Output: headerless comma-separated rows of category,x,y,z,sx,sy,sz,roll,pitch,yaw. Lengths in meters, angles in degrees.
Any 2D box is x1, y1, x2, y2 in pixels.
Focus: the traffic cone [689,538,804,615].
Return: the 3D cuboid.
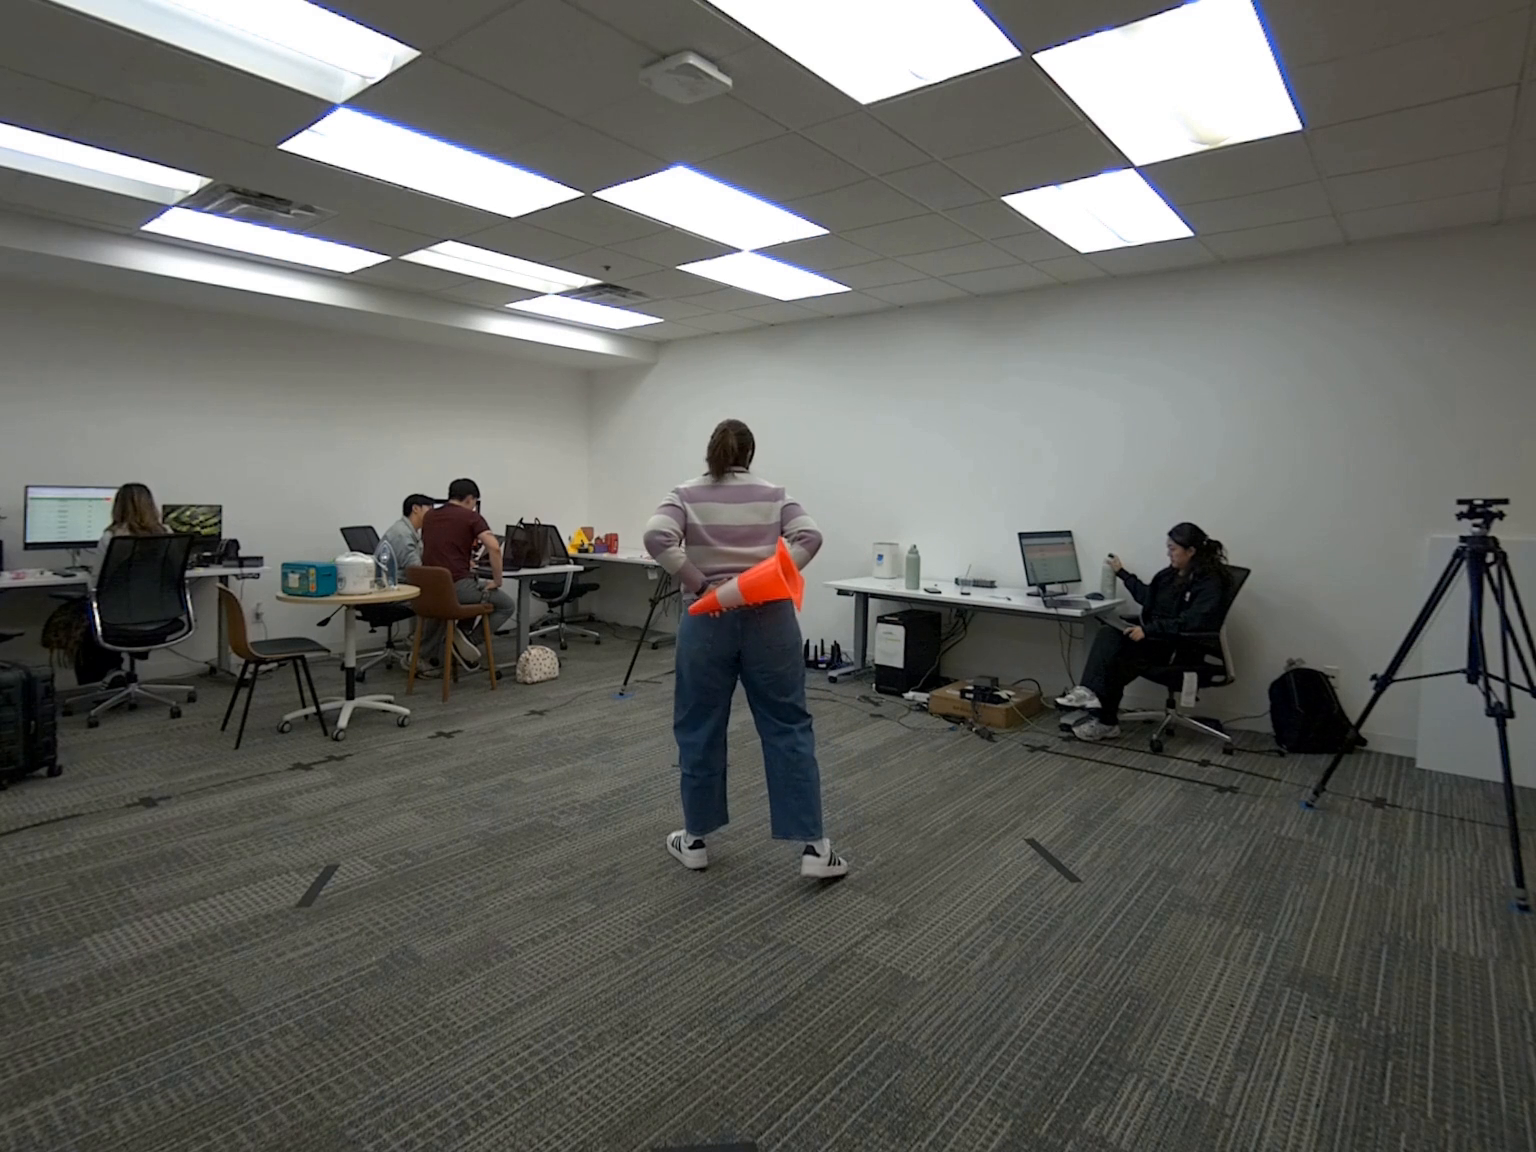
traffic cone,-0.113,0.050,2.844,0.388,0.198,0.208,-20,29,16
